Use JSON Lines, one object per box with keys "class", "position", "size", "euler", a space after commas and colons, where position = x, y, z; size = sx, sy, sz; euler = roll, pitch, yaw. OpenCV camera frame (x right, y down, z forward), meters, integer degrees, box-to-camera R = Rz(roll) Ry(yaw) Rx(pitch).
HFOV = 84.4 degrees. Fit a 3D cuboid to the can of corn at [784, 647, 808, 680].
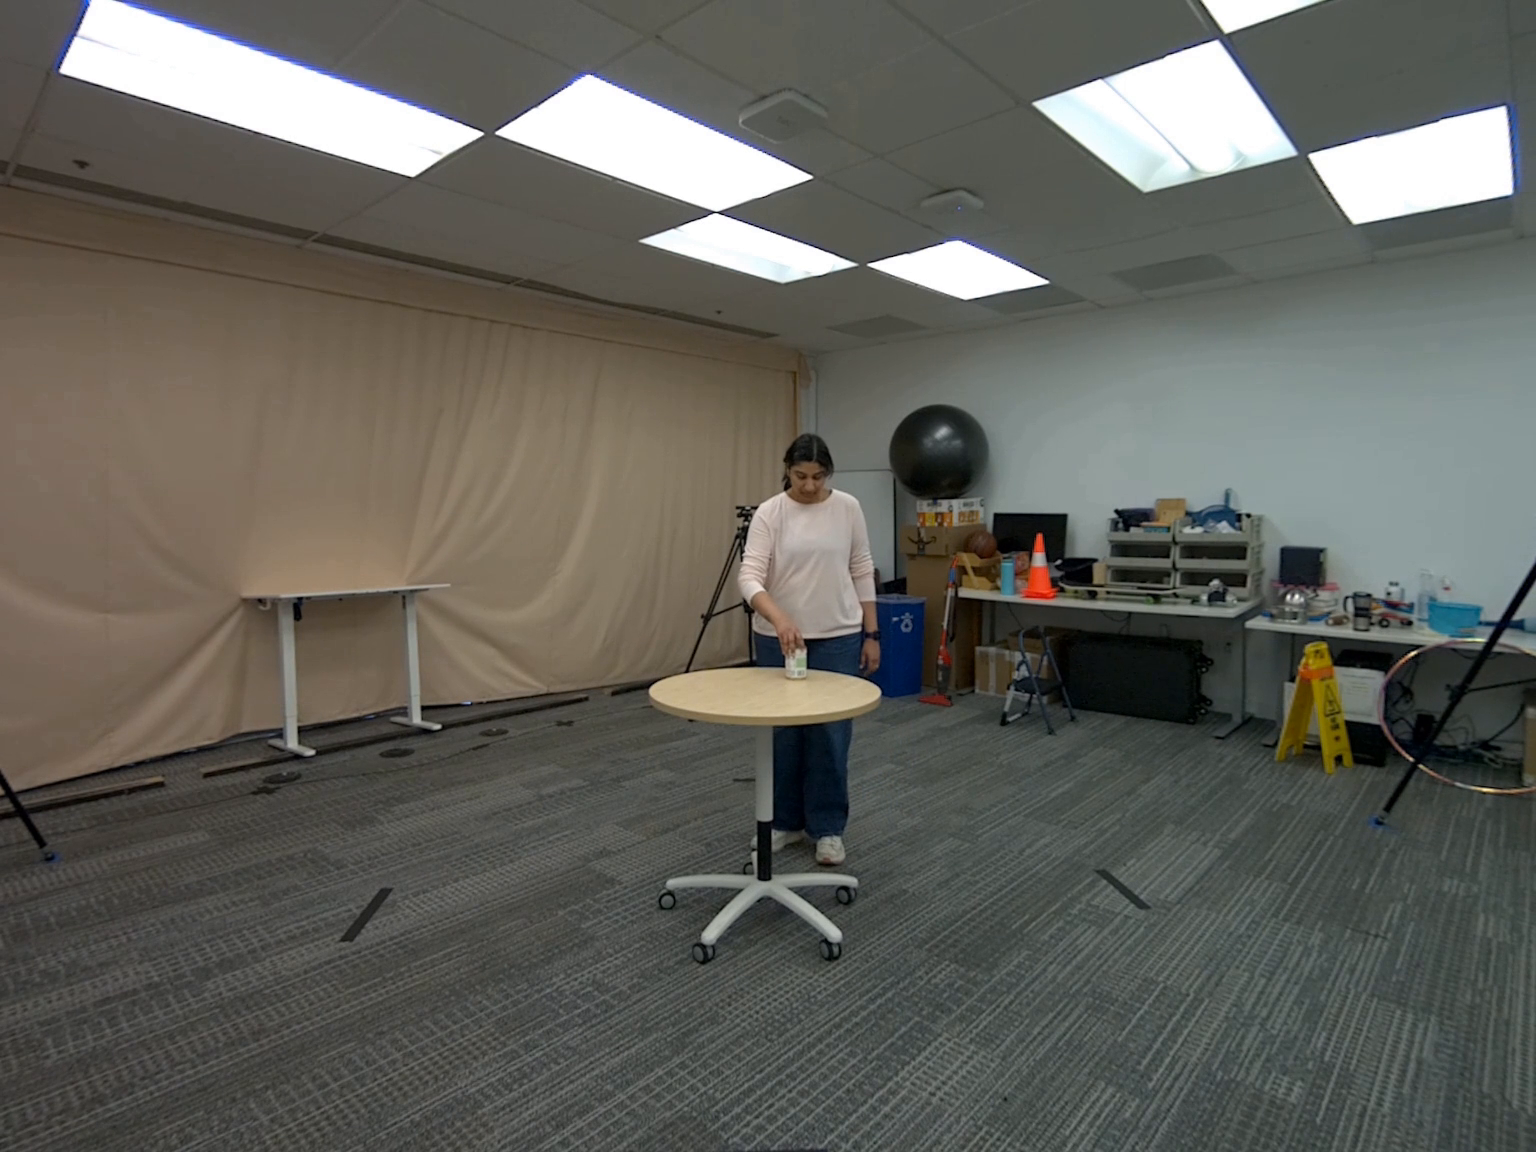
{"class": "can of corn", "position": [0.099, 0.304, 2.971], "size": [0.074, 0.111, 0.074], "euler": [-1, 1, -2]}
